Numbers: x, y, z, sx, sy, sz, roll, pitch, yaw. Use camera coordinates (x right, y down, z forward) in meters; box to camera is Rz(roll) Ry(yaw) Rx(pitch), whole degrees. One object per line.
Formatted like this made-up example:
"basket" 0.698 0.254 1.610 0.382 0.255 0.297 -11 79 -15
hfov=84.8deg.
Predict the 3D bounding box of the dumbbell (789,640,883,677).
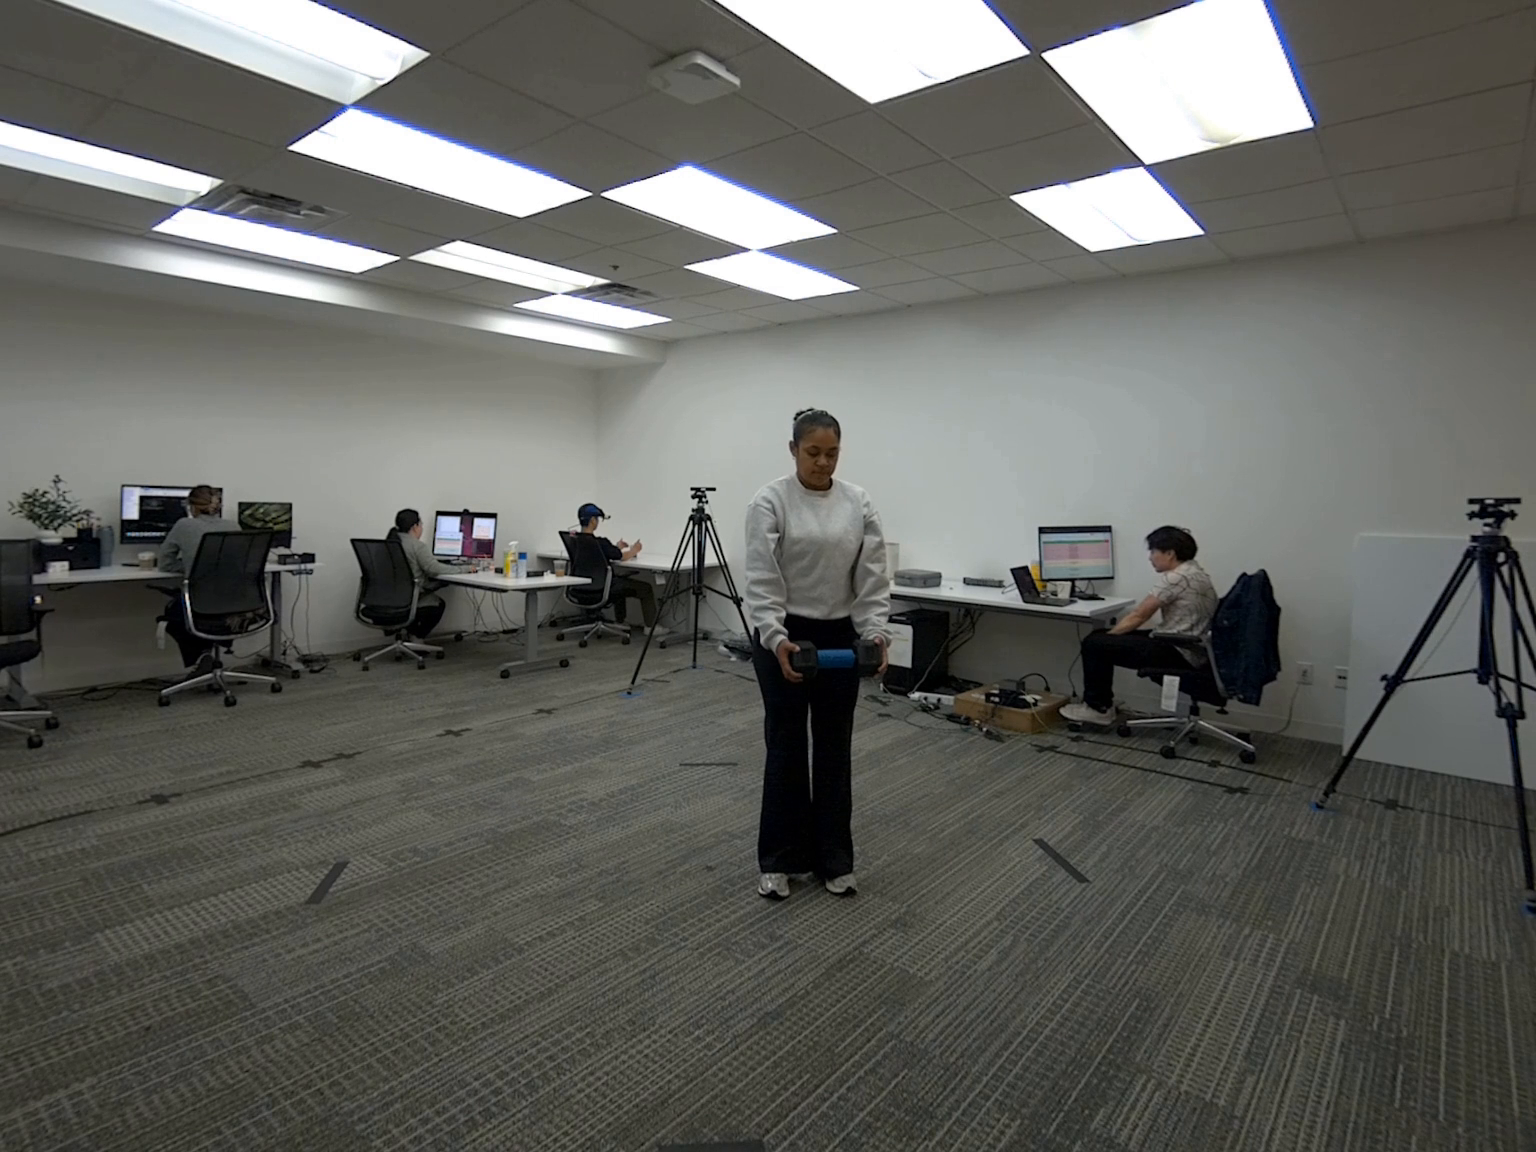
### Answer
"dumbbell" 0.201 0.259 2.742 0.290 0.125 0.108 3 -18 -9
